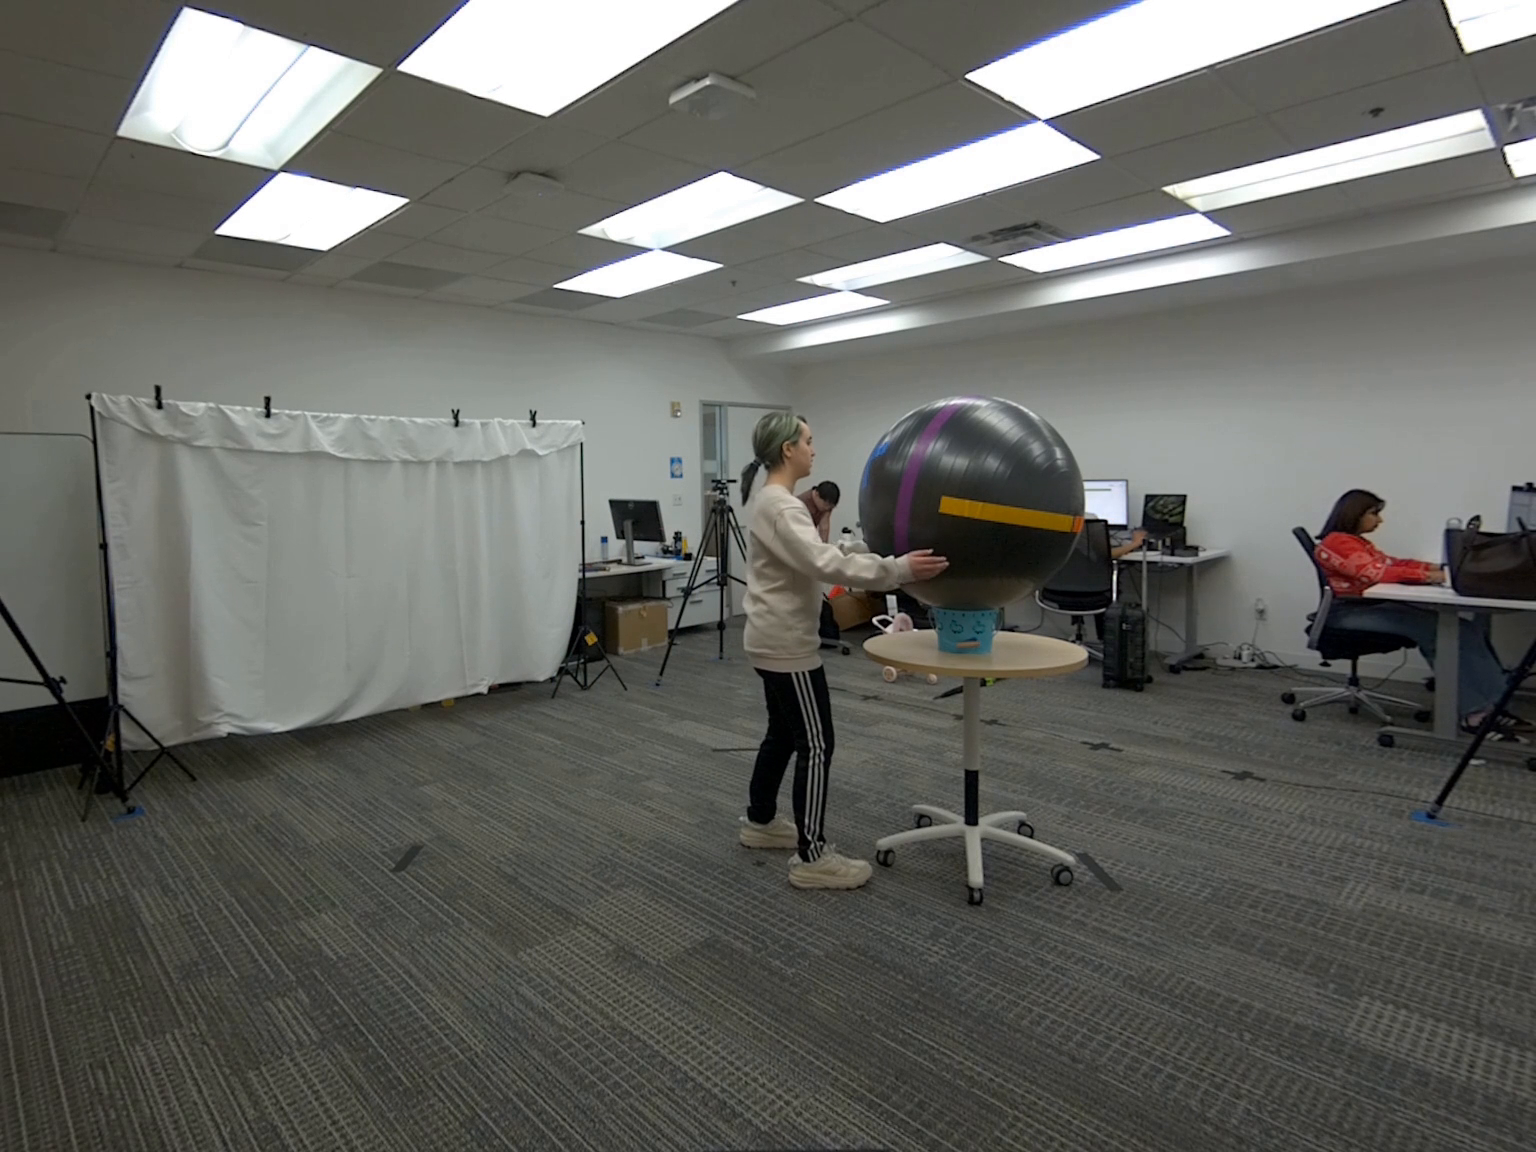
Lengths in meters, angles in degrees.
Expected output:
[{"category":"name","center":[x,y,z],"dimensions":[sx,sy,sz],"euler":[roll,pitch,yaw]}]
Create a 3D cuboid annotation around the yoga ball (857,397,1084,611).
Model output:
[{"category":"yoga ball","center":[0.706,-0.249,2.988],"dimensions":[0.757,0.755,0.762],"euler":[-1,5,-2]}]
